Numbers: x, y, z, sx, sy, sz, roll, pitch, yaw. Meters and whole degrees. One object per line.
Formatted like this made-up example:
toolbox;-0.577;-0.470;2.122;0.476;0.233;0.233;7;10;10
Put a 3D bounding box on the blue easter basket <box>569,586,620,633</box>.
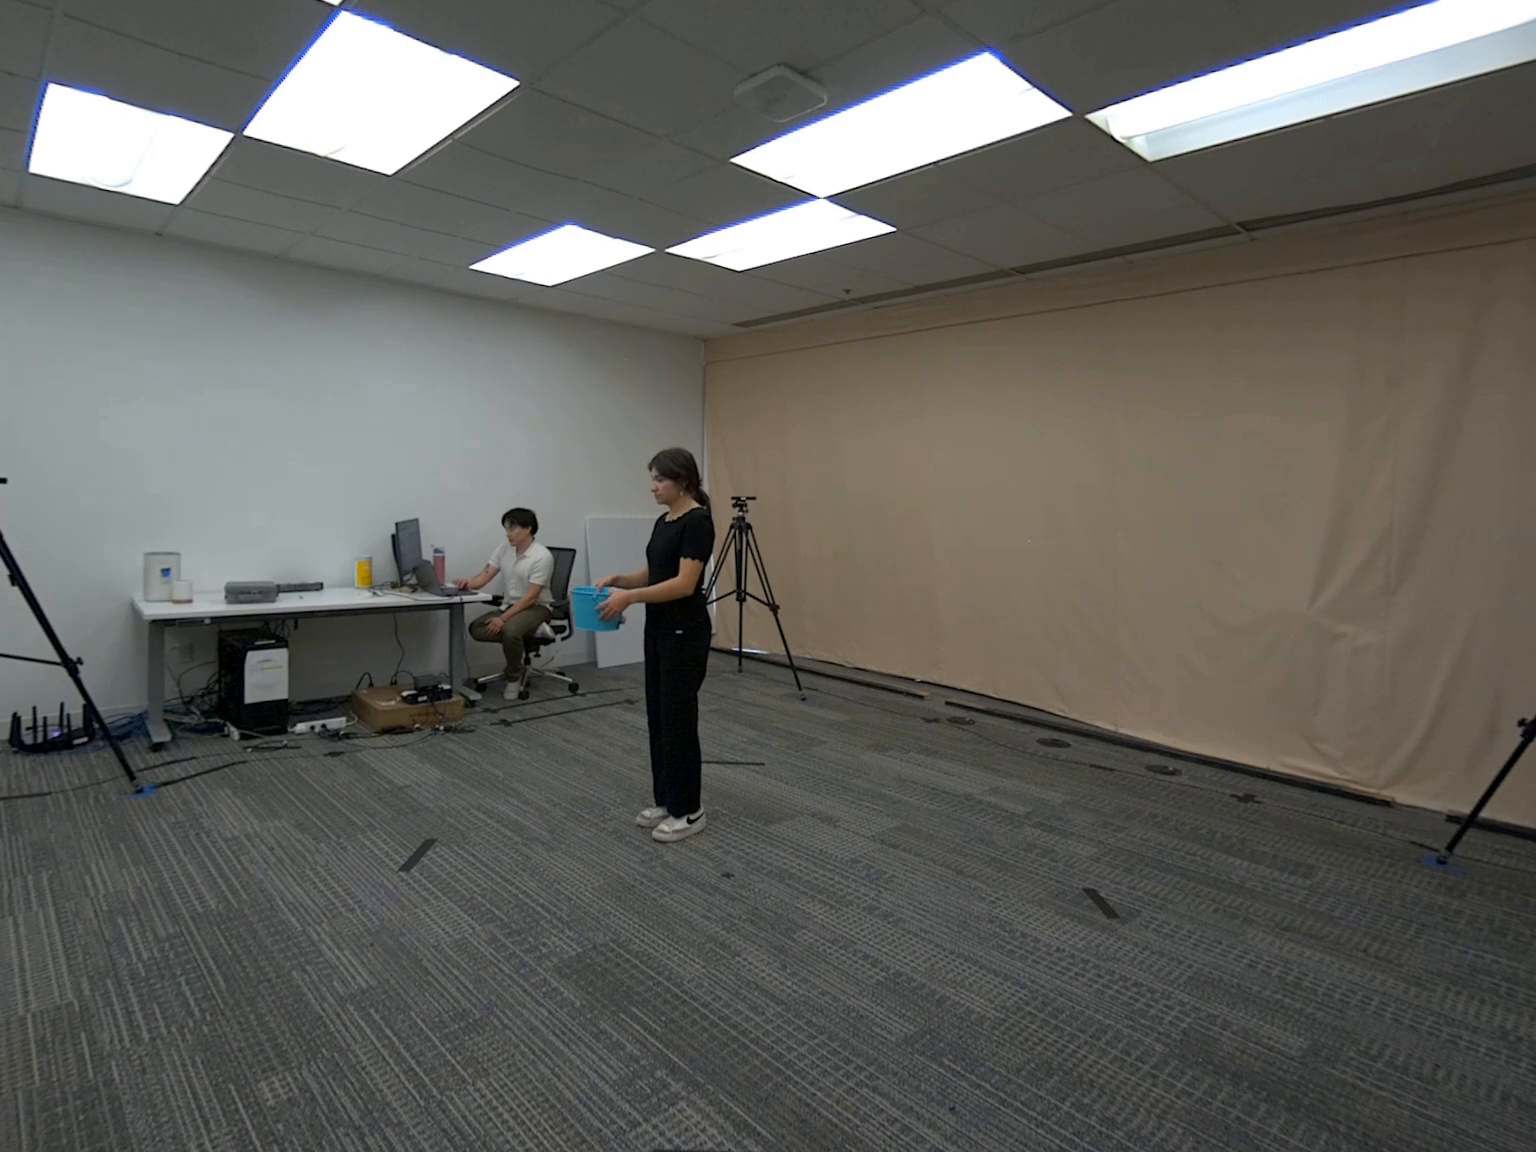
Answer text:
blue easter basket;-0.699;0.134;3.426;0.243;0.155;0.244;4;4;-2
